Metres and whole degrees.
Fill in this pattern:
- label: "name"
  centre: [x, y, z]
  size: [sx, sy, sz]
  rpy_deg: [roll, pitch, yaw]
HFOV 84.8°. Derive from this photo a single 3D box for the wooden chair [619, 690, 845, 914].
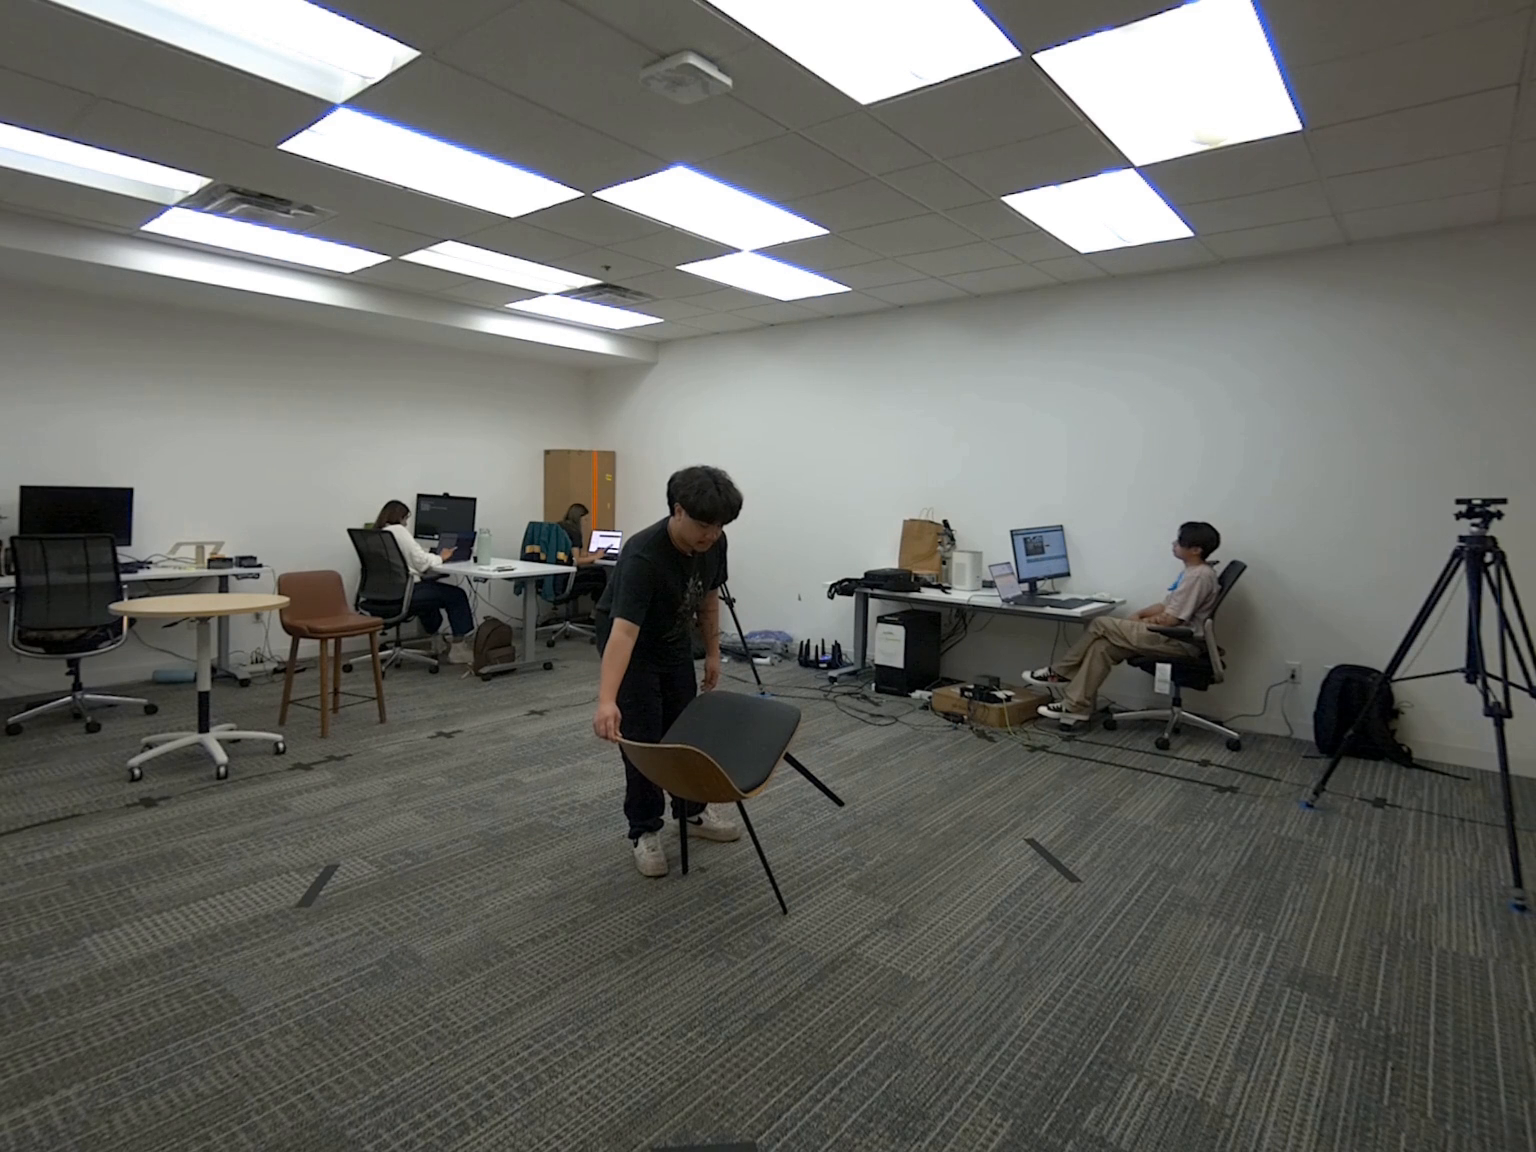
- label: "wooden chair"
  centre: [-0.153, 0.615, 2.852]
  size: [0.494, 0.845, 0.525]
  rpy_deg: [3, 44, 37]
